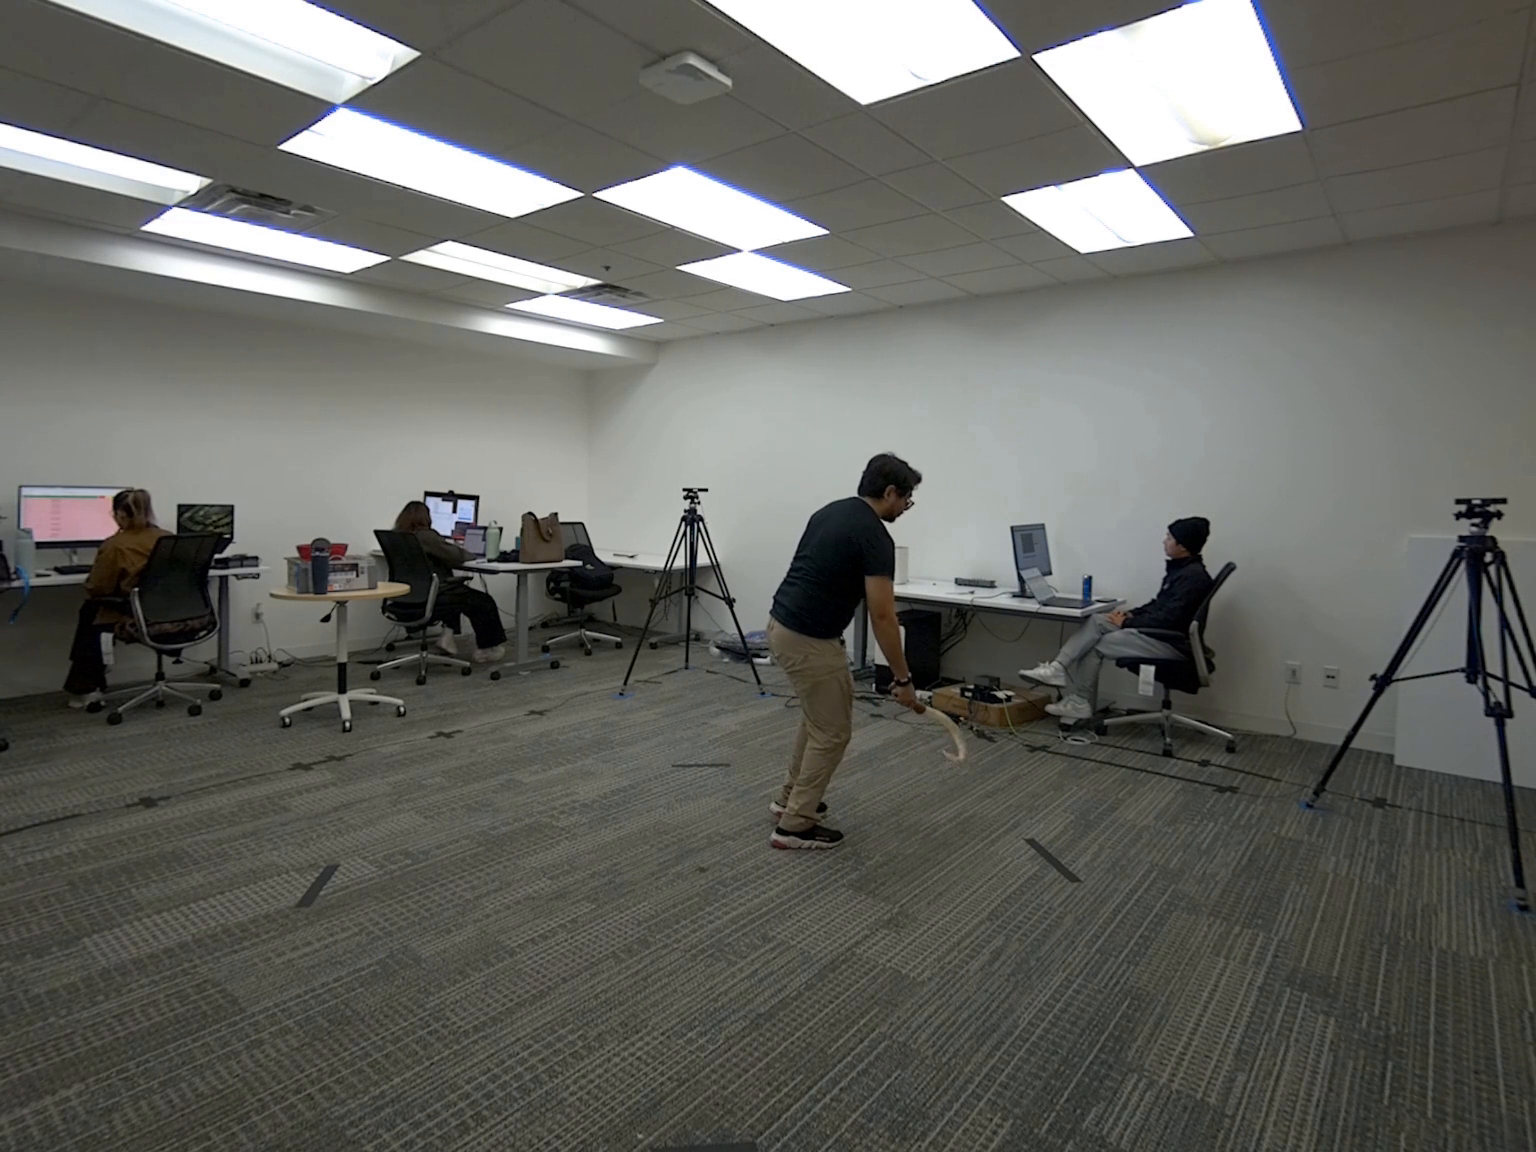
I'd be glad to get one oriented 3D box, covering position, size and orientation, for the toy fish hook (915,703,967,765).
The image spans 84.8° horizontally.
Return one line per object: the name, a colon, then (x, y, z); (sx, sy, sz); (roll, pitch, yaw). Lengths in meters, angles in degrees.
toy fish hook: (0.627, 0.588, 3.314); (0.048, 0.232, 0.488); (-37, -55, 25)
